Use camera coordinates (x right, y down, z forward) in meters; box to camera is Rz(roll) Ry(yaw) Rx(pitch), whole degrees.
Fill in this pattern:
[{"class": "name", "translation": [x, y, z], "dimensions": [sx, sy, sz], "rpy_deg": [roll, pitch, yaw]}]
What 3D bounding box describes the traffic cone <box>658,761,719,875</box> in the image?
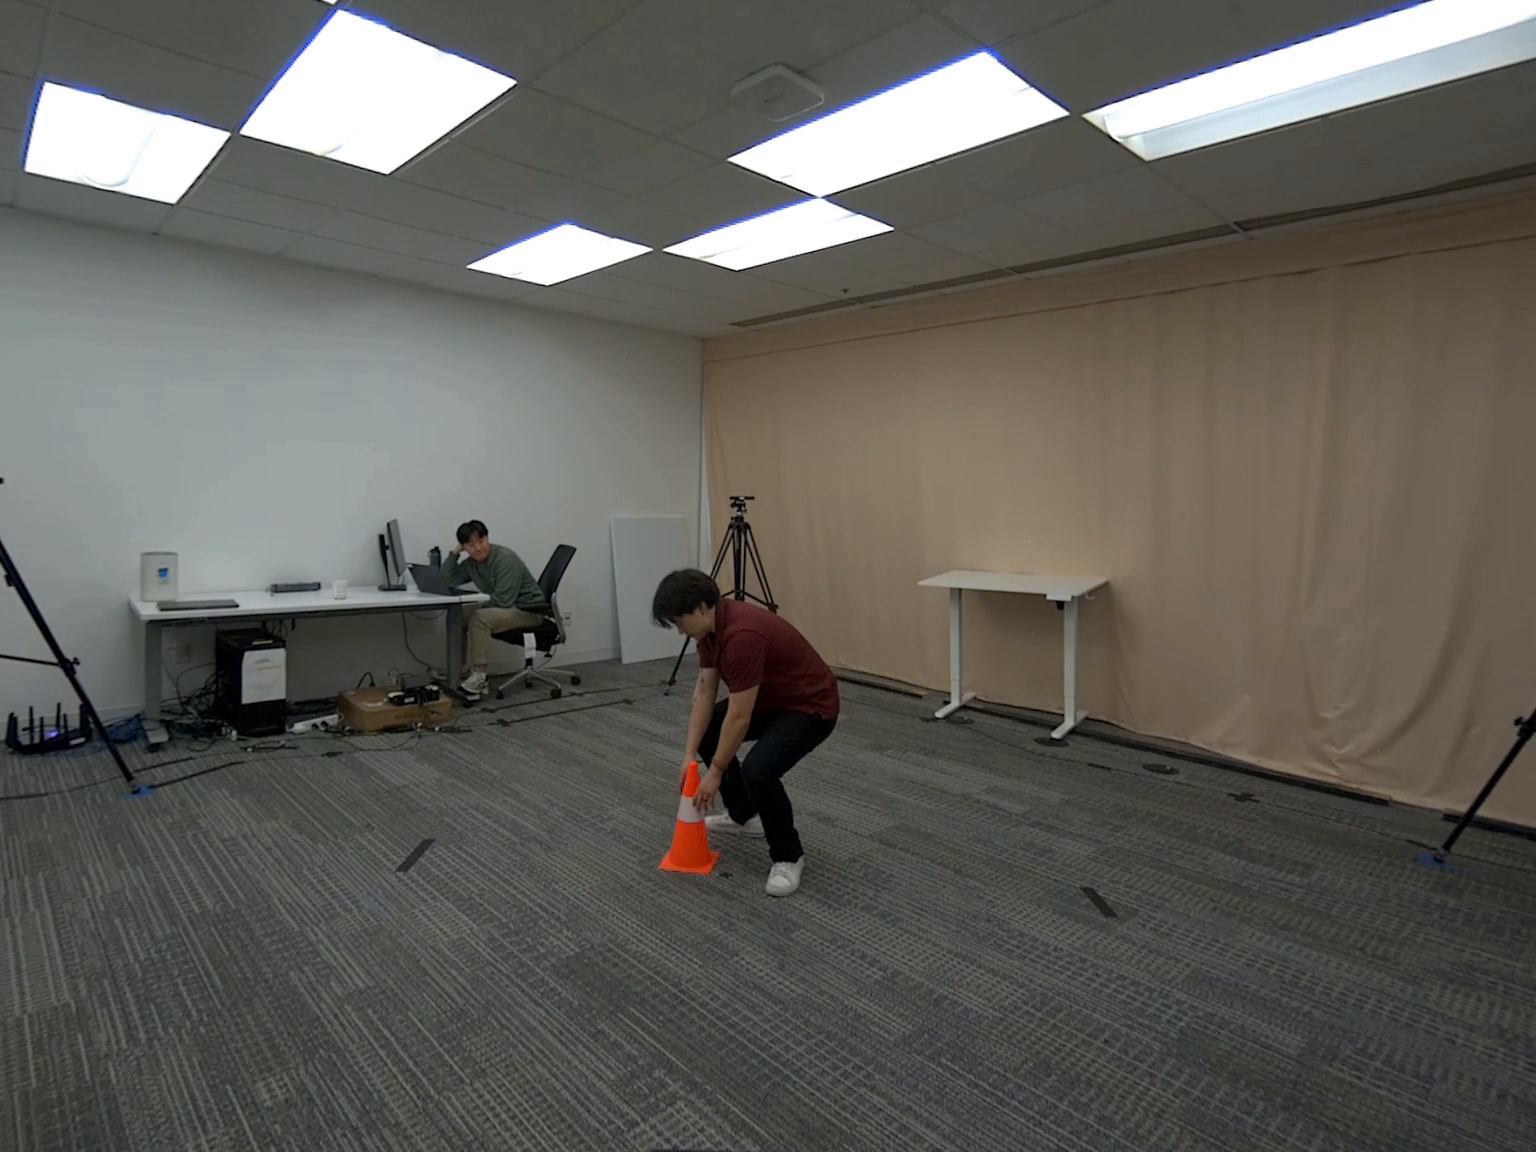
[{"class": "traffic cone", "translation": [-0.310, 0.905, 3.220], "dimensions": [0.207, 0.383, 0.201], "rpy_deg": [2, 3, 14]}]
